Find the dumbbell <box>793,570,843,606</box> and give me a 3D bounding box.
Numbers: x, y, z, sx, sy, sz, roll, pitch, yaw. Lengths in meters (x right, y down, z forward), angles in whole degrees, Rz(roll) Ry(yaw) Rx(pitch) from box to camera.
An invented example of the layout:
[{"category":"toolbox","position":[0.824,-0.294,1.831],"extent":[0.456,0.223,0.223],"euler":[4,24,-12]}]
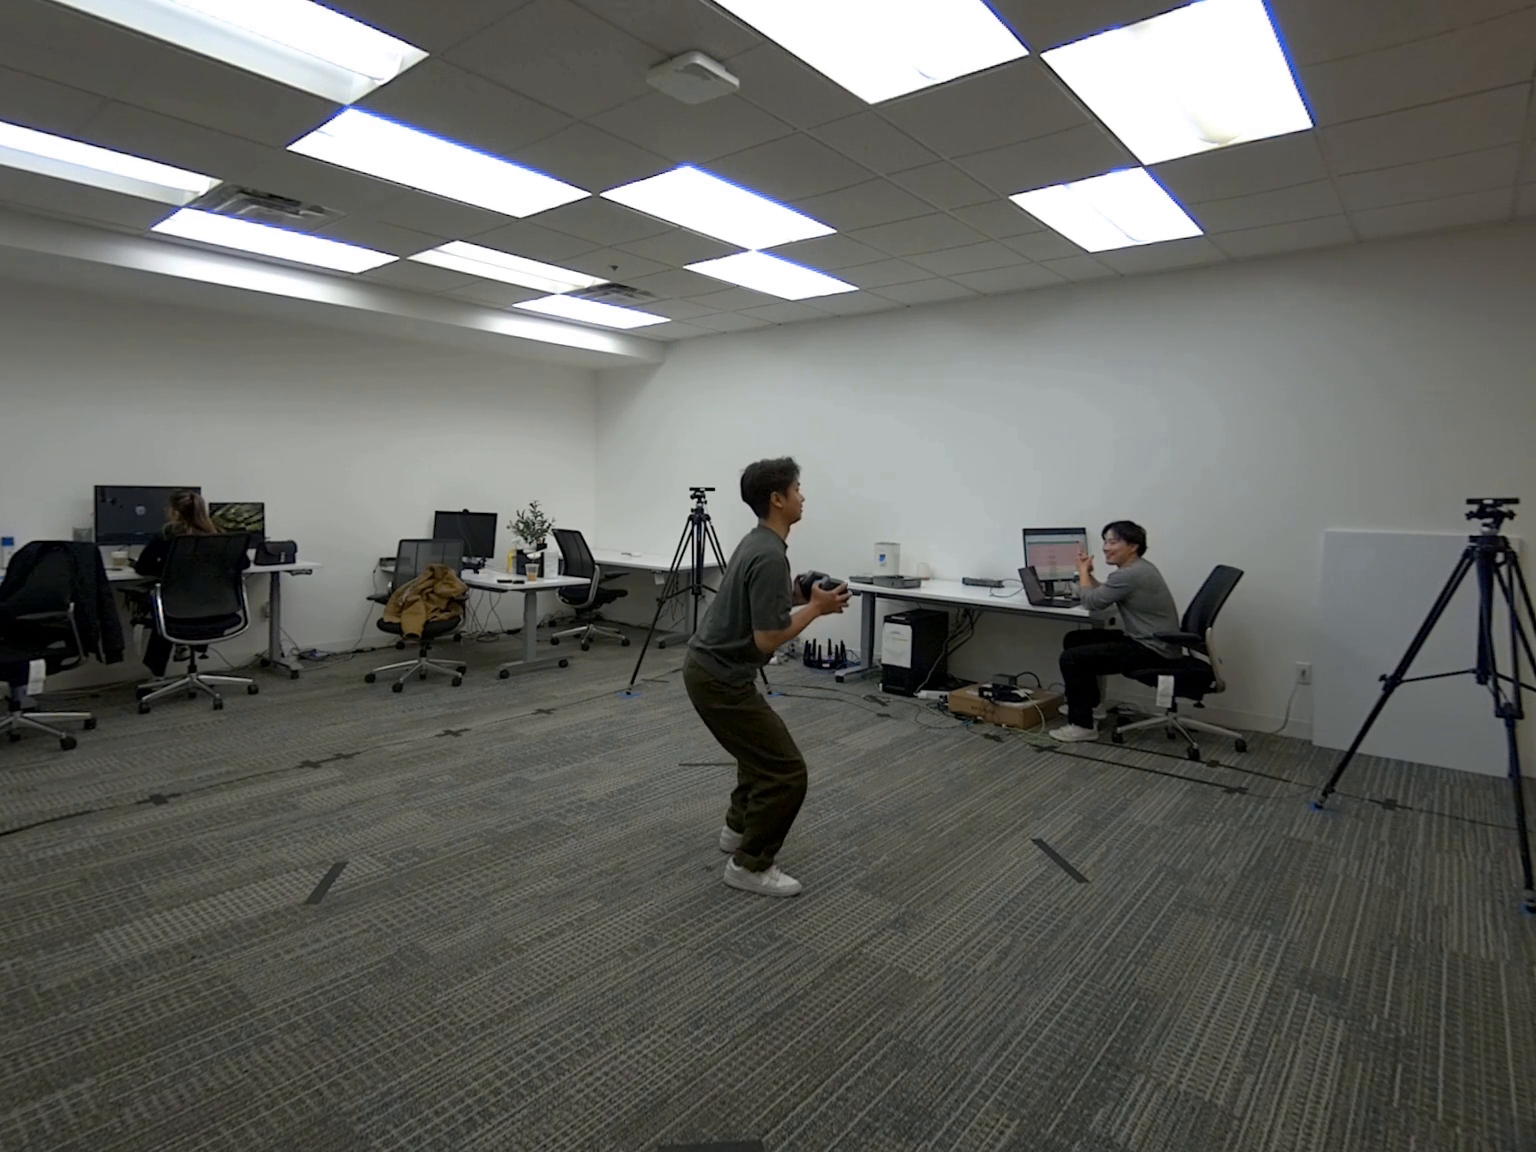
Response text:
[{"category":"dumbbell","position":[0.187,0.057,3.125],"extent":[0.107,0.123,0.298],"euler":[41,0,-13]}]
